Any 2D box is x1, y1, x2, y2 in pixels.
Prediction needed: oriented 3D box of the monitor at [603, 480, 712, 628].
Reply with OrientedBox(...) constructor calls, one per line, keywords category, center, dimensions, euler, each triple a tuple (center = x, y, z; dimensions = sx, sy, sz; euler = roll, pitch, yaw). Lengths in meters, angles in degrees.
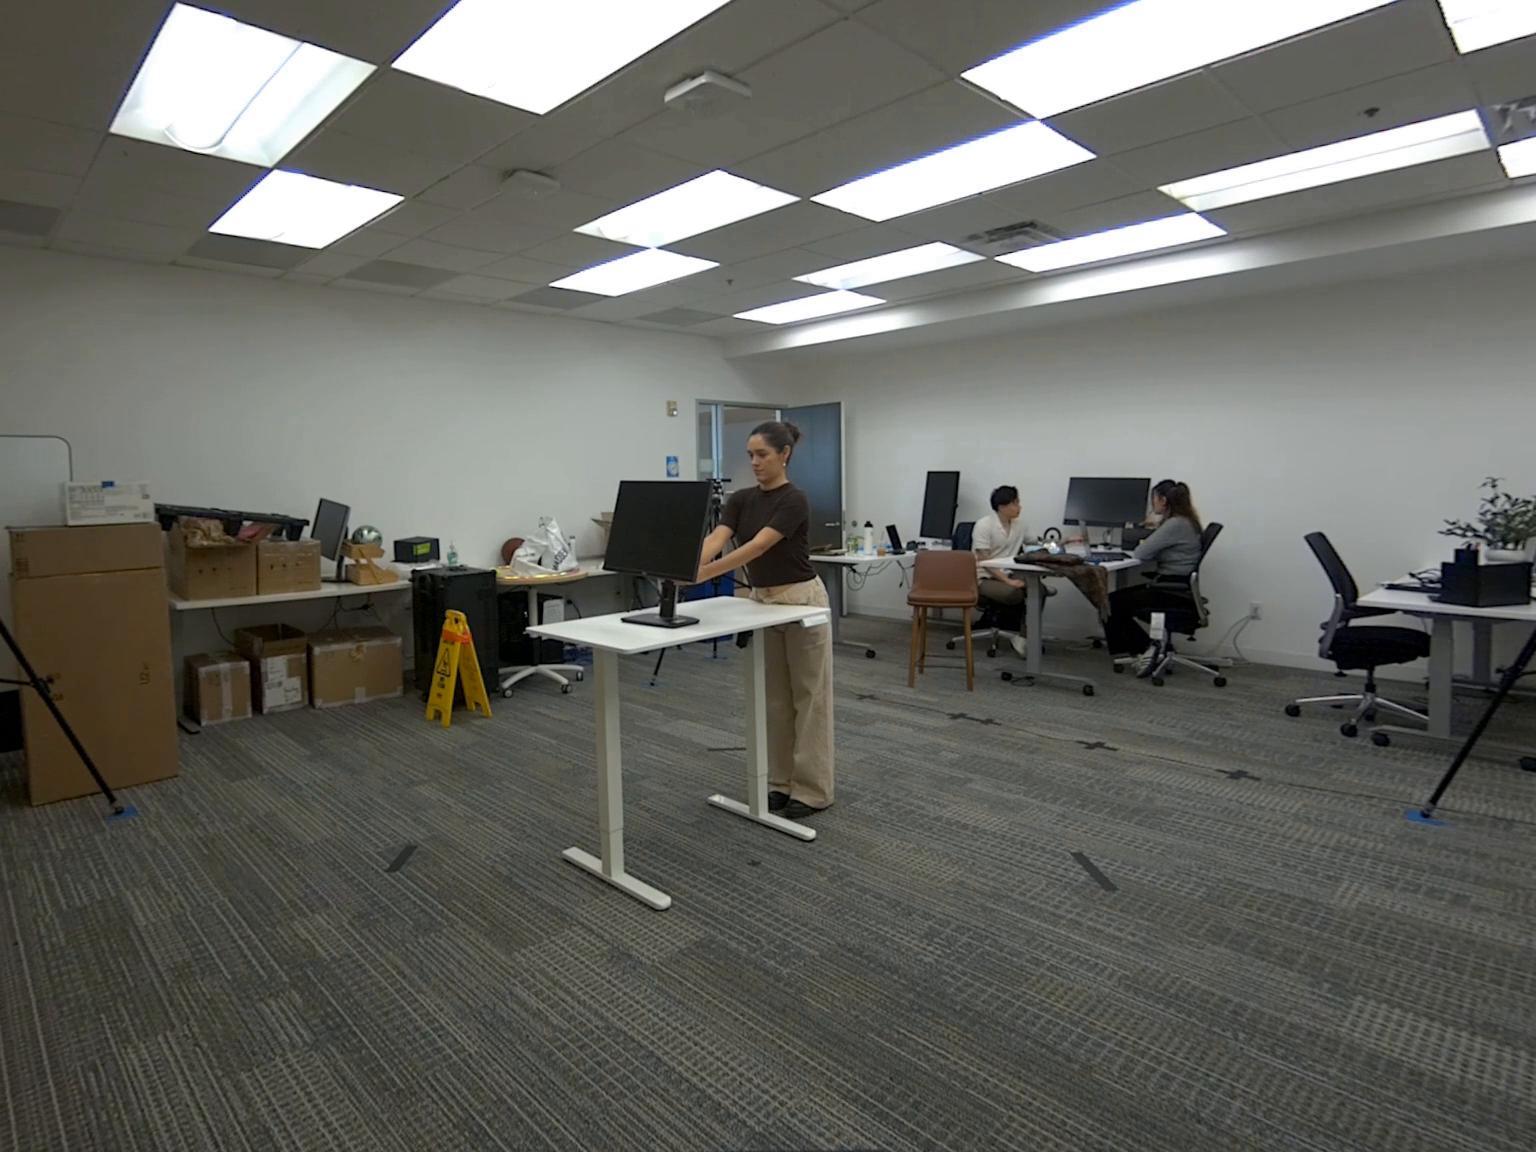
OrientedBox(category="monitor", center=(-0.386, -0.084, 3.110), dimensions=(0.556, 0.521, 0.182), euler=(5, 4, 43))
